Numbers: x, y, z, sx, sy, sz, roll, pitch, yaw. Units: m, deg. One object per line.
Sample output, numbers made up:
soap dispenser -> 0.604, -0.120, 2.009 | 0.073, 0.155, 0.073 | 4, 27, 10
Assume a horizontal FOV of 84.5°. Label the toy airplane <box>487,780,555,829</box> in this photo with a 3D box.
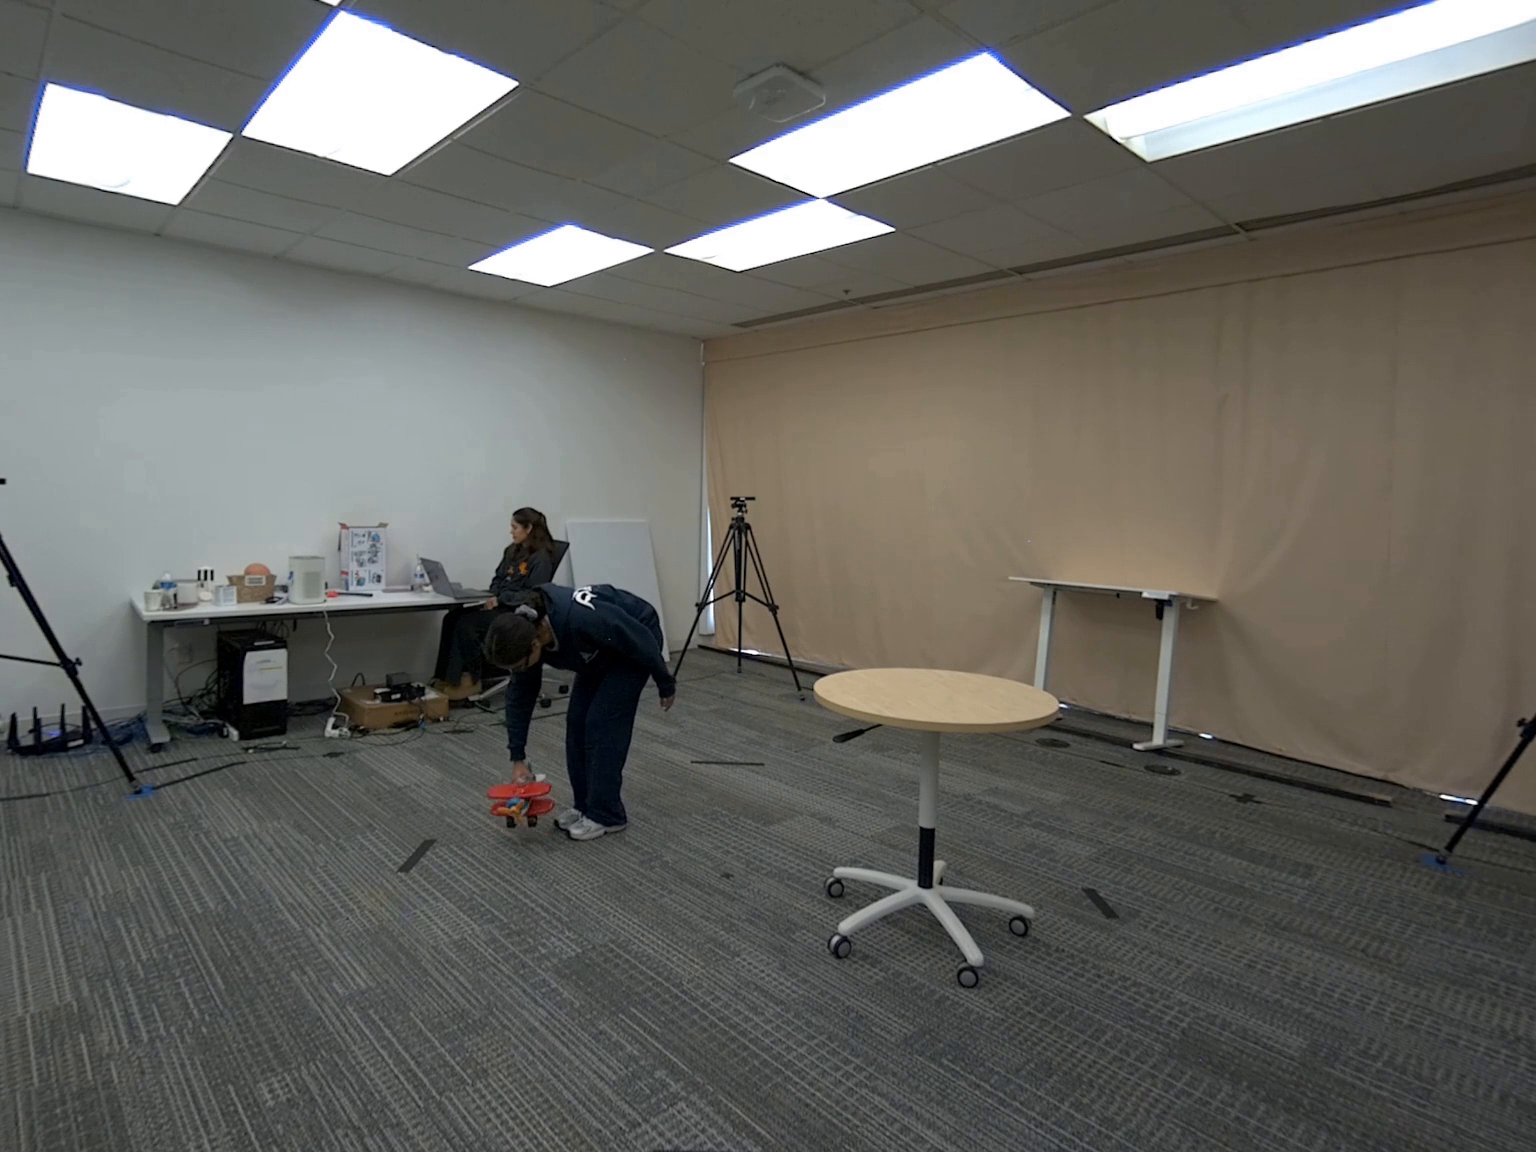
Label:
toy airplane -> -1.012, 0.872, 3.381 | 0.249, 0.153, 0.267 | -21, 36, -21
